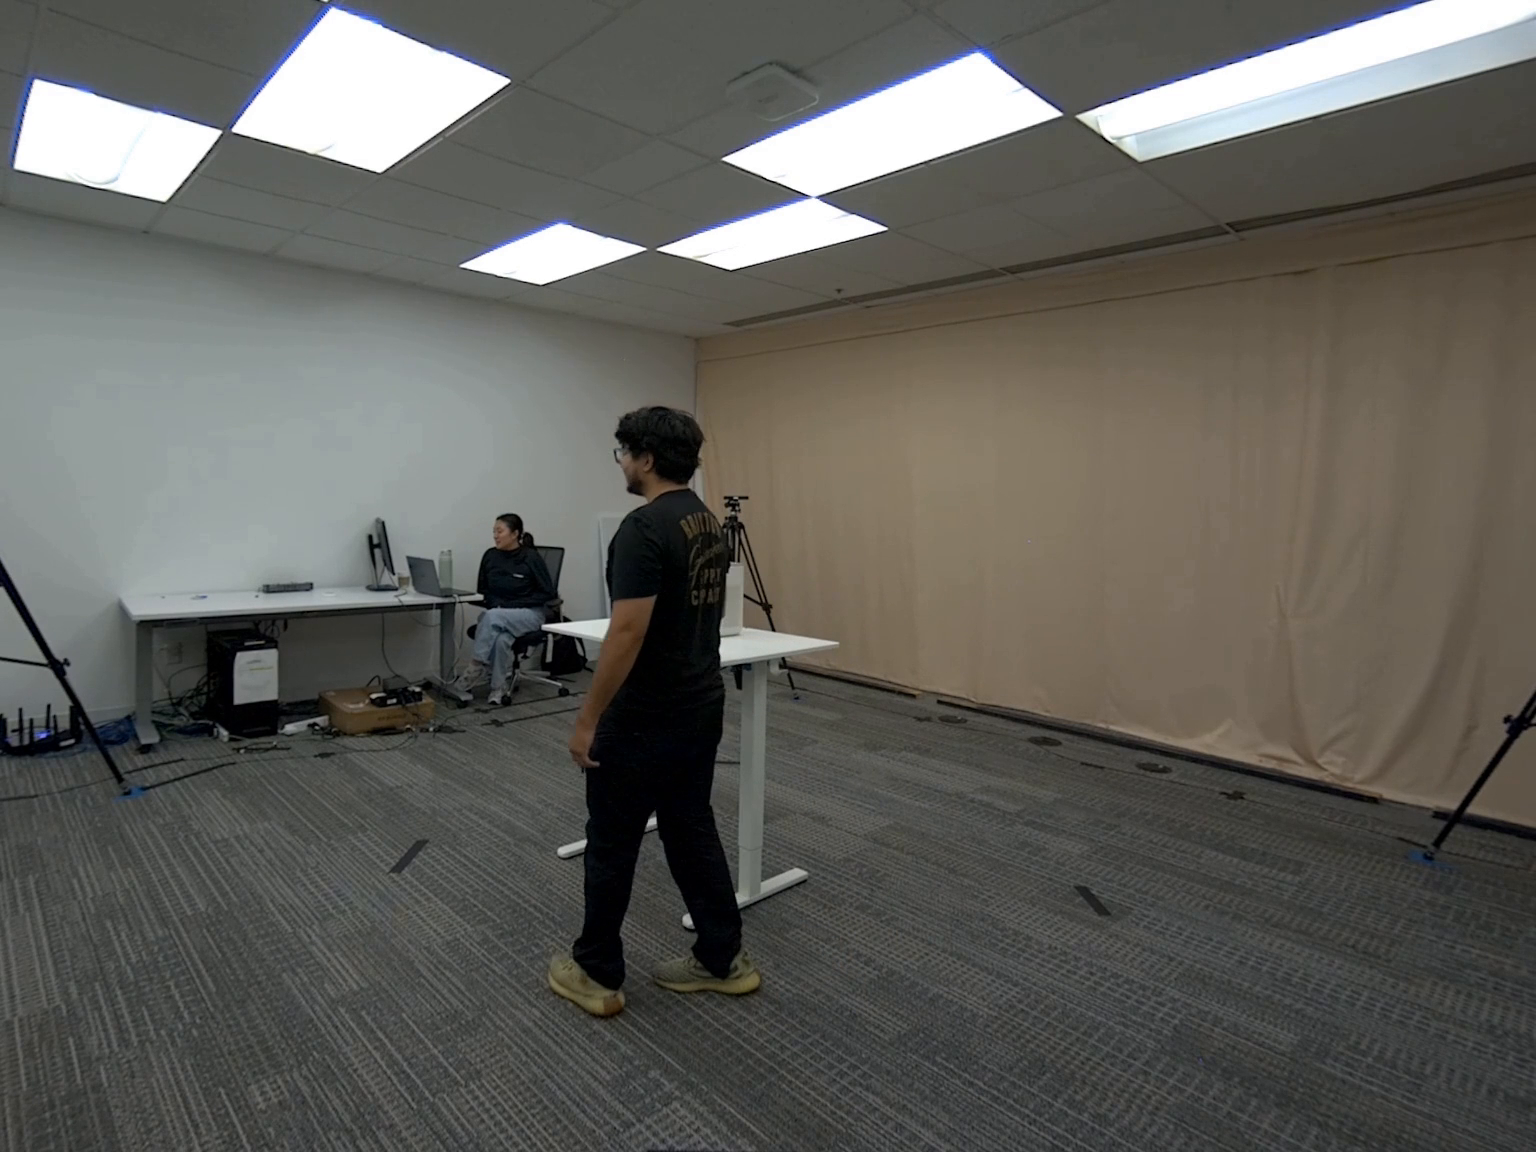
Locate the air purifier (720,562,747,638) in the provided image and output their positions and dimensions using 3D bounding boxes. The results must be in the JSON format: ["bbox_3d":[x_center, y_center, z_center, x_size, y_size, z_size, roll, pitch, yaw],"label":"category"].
[{"bbox_3d":[-0.194,0.086,3.129,0.168,0.265,0.175,-2,3,-43],"label":"air purifier"}]
